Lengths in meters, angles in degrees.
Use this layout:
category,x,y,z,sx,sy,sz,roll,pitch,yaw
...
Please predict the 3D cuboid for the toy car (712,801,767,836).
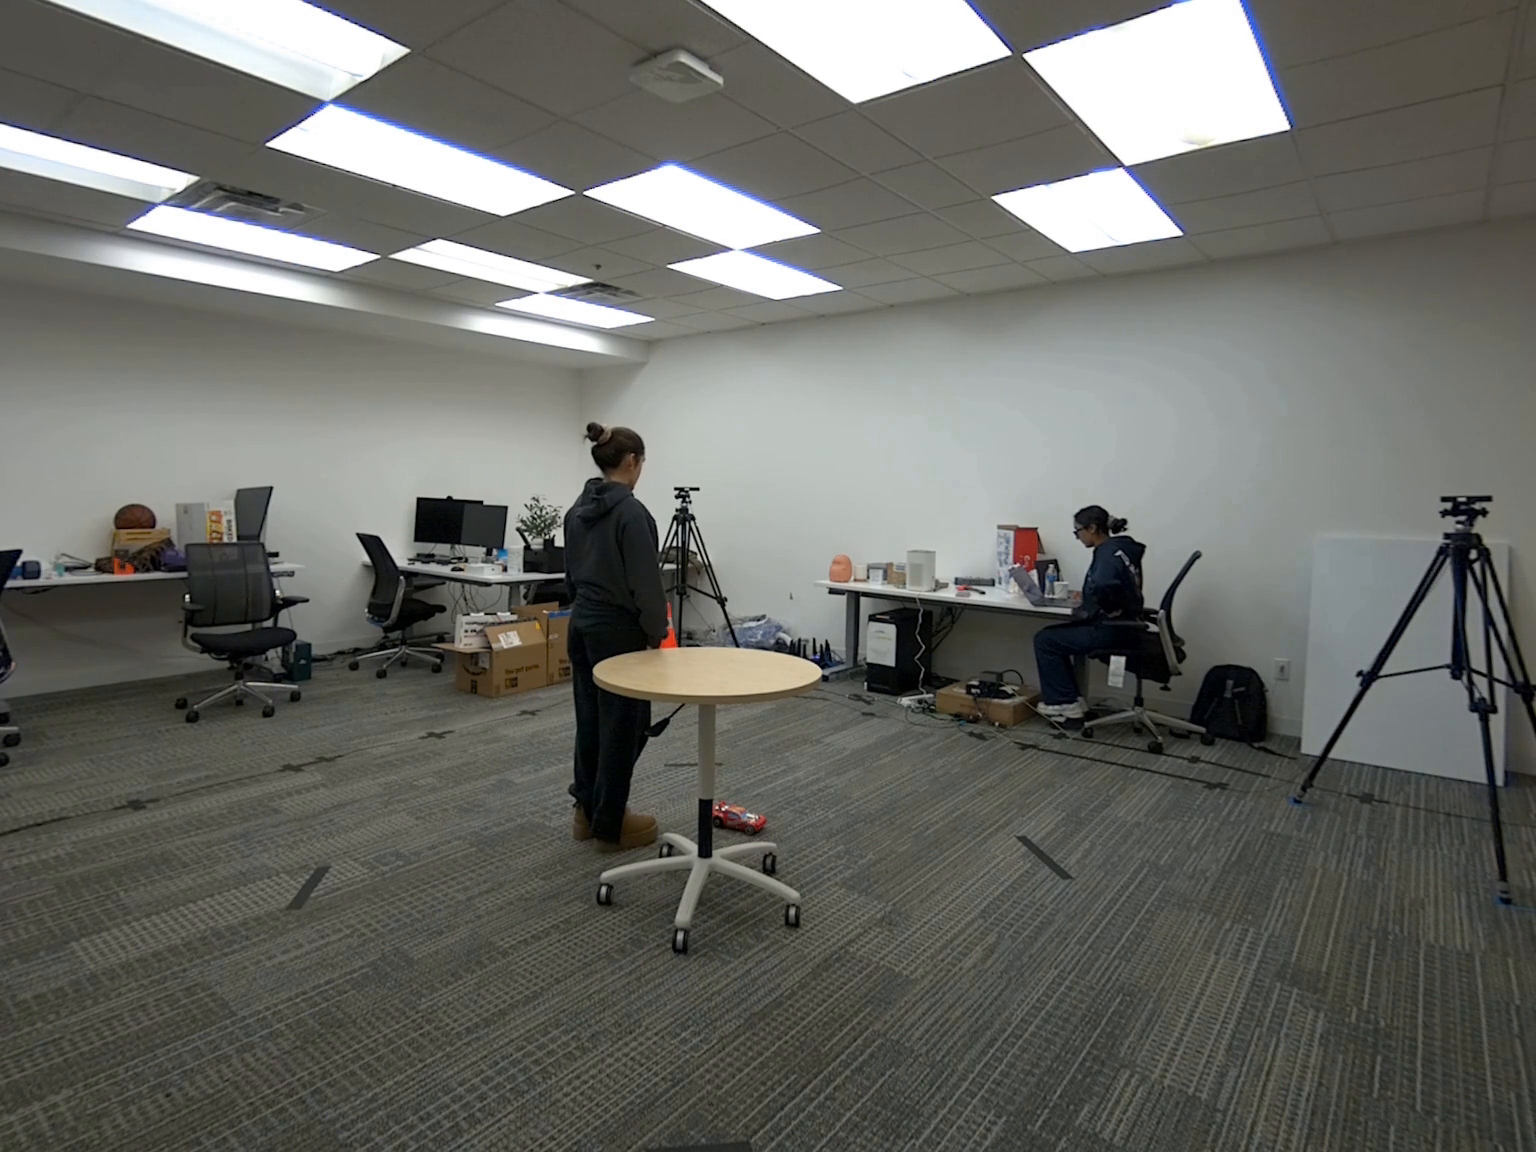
category,x,y,z,sx,sy,sz,roll,pitch,yaw
toy car,-0.138,1.005,3.514,0.262,0.082,0.127,15,11,26
